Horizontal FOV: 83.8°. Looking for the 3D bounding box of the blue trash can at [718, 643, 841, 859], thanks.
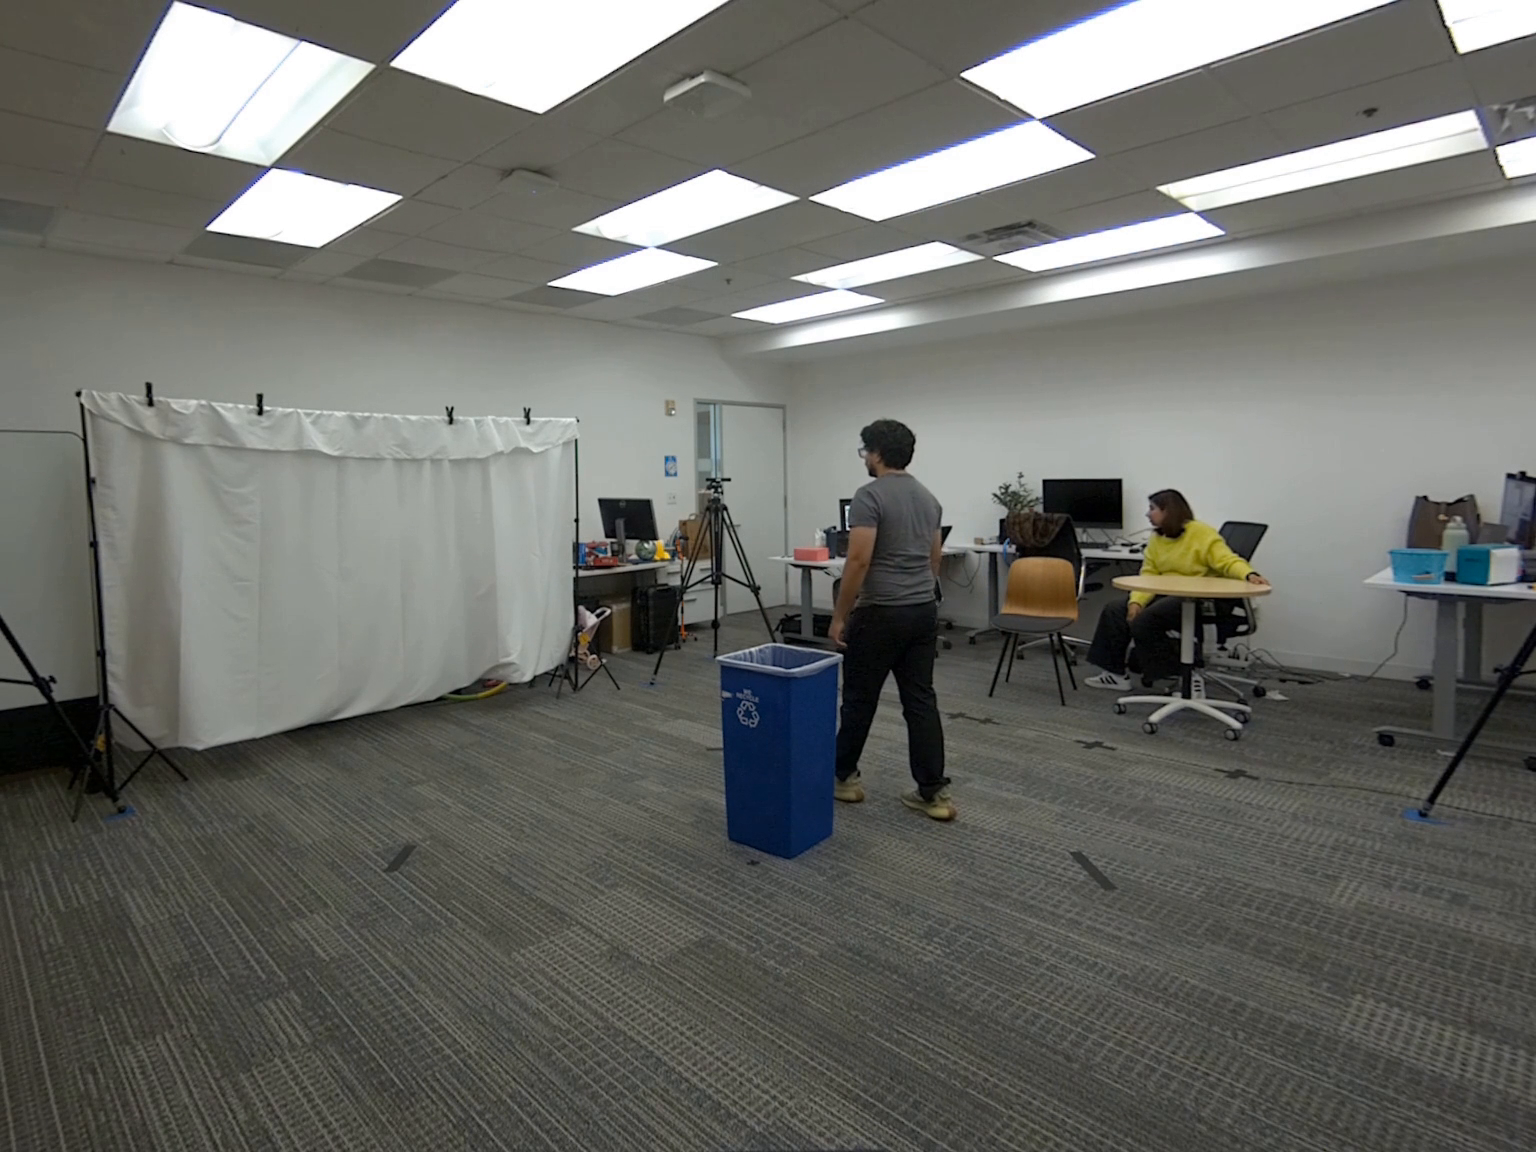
[{"bbox_3d":[0.053,0.660,3.303,0.385,0.711,0.368,2,5,38],"label":"blue trash can"}]
